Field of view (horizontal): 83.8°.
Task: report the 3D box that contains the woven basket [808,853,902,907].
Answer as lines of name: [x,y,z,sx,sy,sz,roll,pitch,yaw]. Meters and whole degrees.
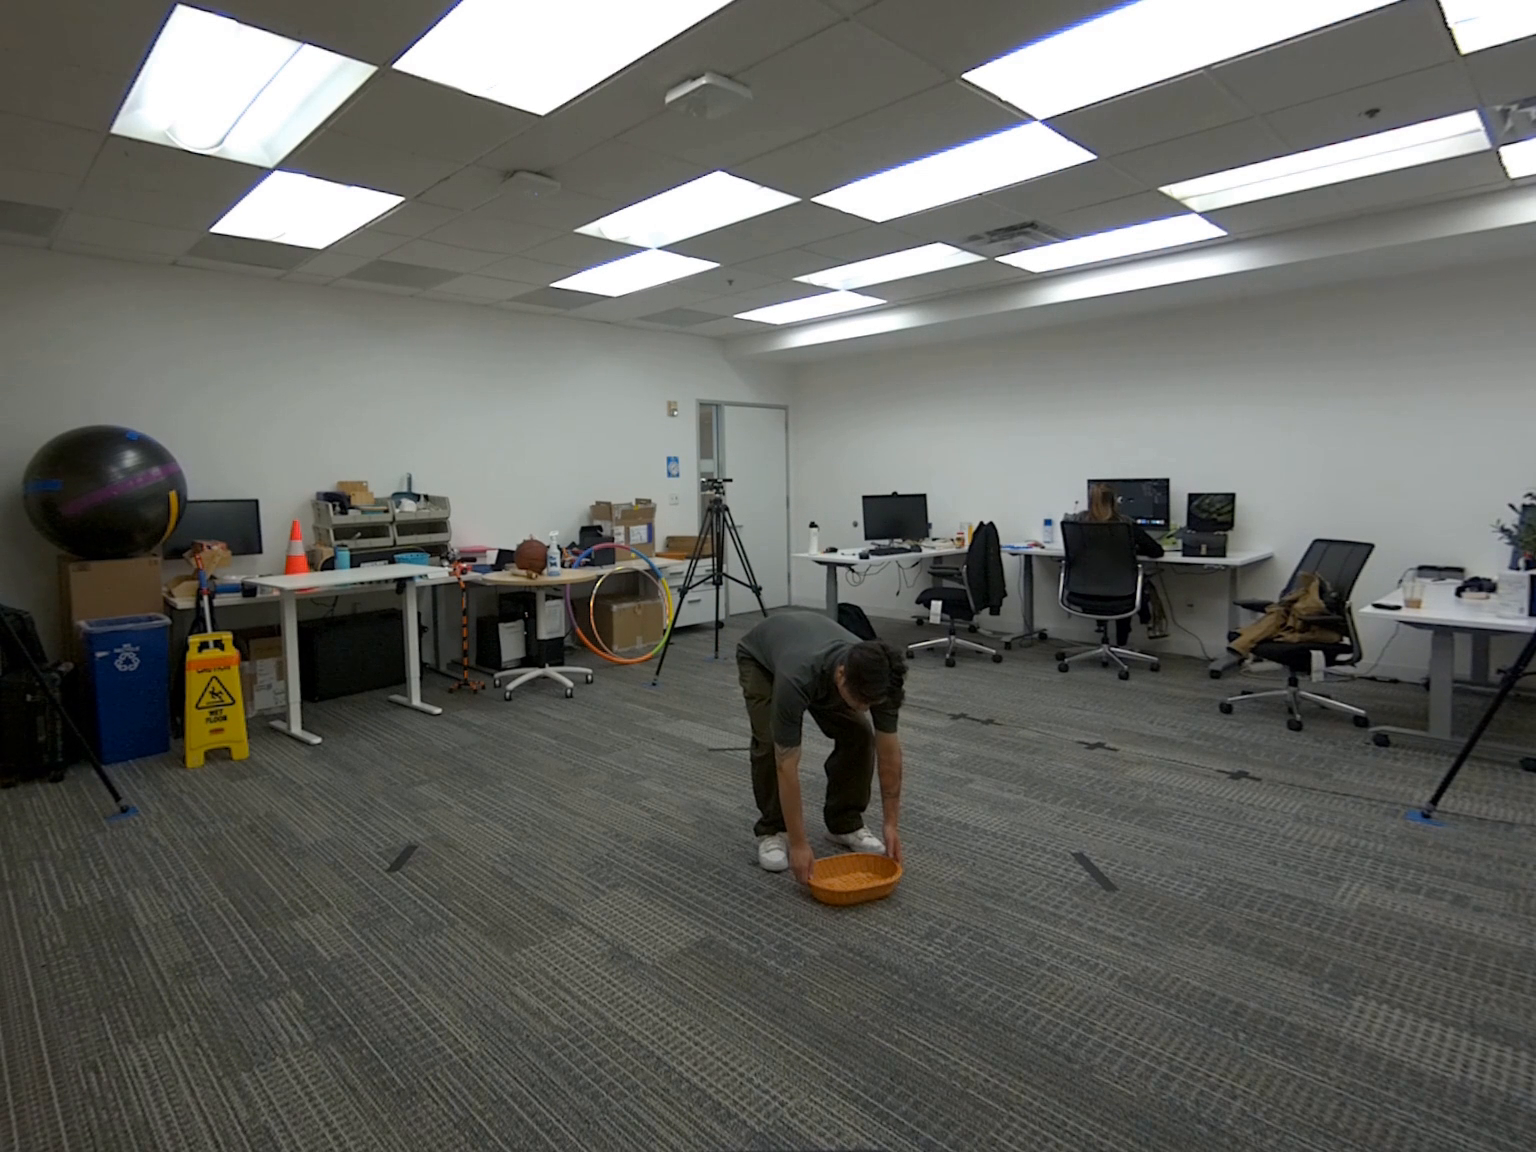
woven basket: [0.287,1.020,2.876,0.344,0.073,0.257,-3,5,-20]
